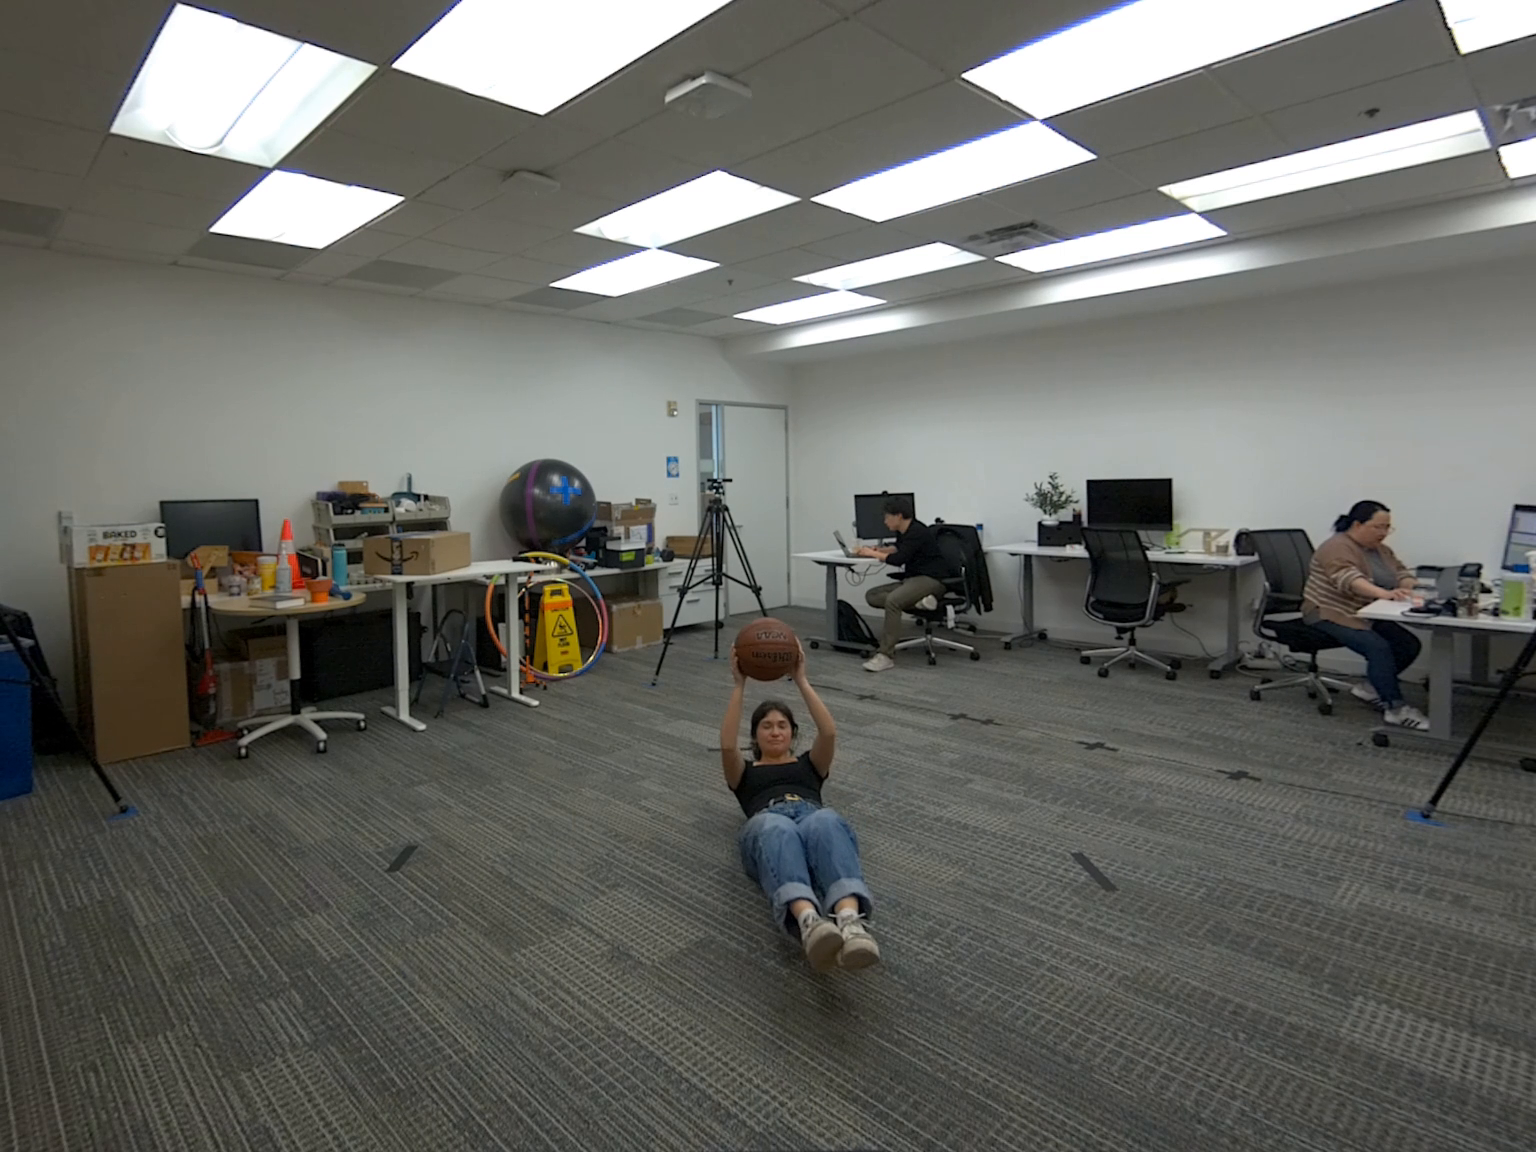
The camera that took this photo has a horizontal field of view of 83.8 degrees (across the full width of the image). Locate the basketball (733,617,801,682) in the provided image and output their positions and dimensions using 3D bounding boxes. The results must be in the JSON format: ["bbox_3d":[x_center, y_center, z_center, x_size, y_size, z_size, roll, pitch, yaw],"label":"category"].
[{"bbox_3d":[-0.004,0.280,3.209,0.236,0.235,0.237,-1,5,-2],"label":"basketball"}]
